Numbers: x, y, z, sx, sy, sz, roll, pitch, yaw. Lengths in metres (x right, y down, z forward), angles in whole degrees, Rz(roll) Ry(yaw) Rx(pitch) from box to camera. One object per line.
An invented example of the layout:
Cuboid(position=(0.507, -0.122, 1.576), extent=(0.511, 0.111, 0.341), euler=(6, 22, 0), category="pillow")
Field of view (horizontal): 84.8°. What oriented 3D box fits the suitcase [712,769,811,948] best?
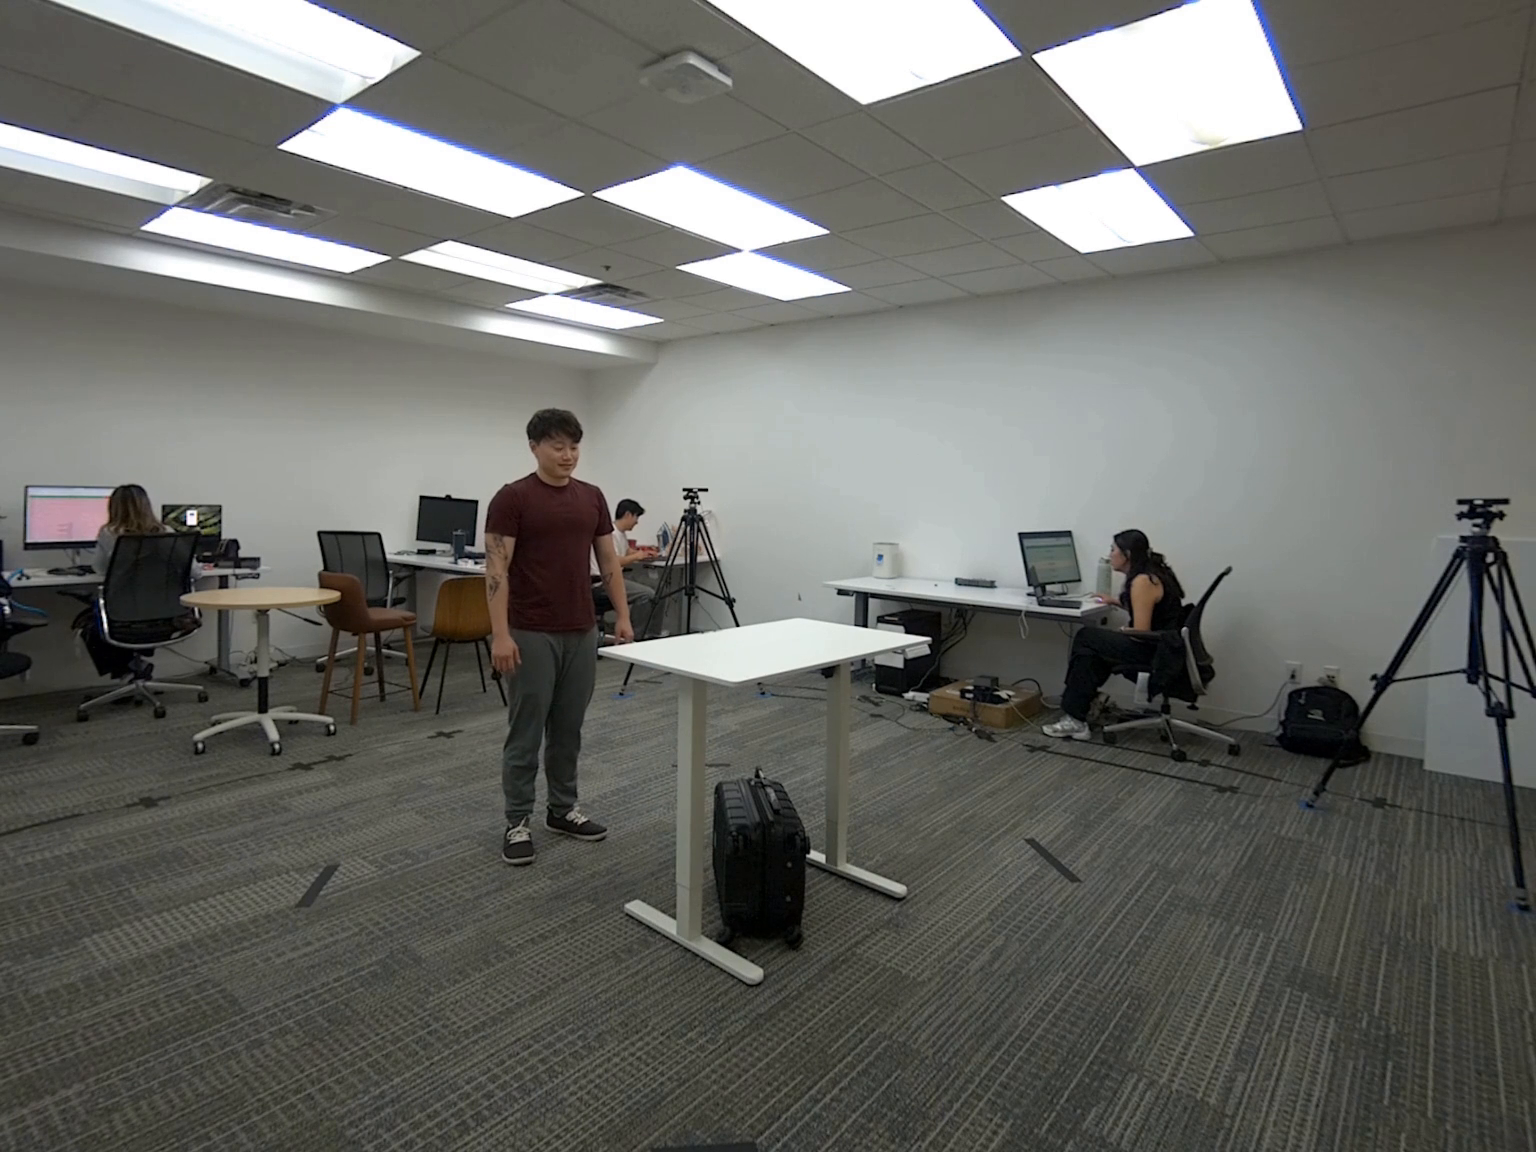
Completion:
Cuboid(position=(-0.087, 0.891, 3.027), extent=(0.254, 0.383, 0.991), euler=(2, 4, -11), category="suitcase")
